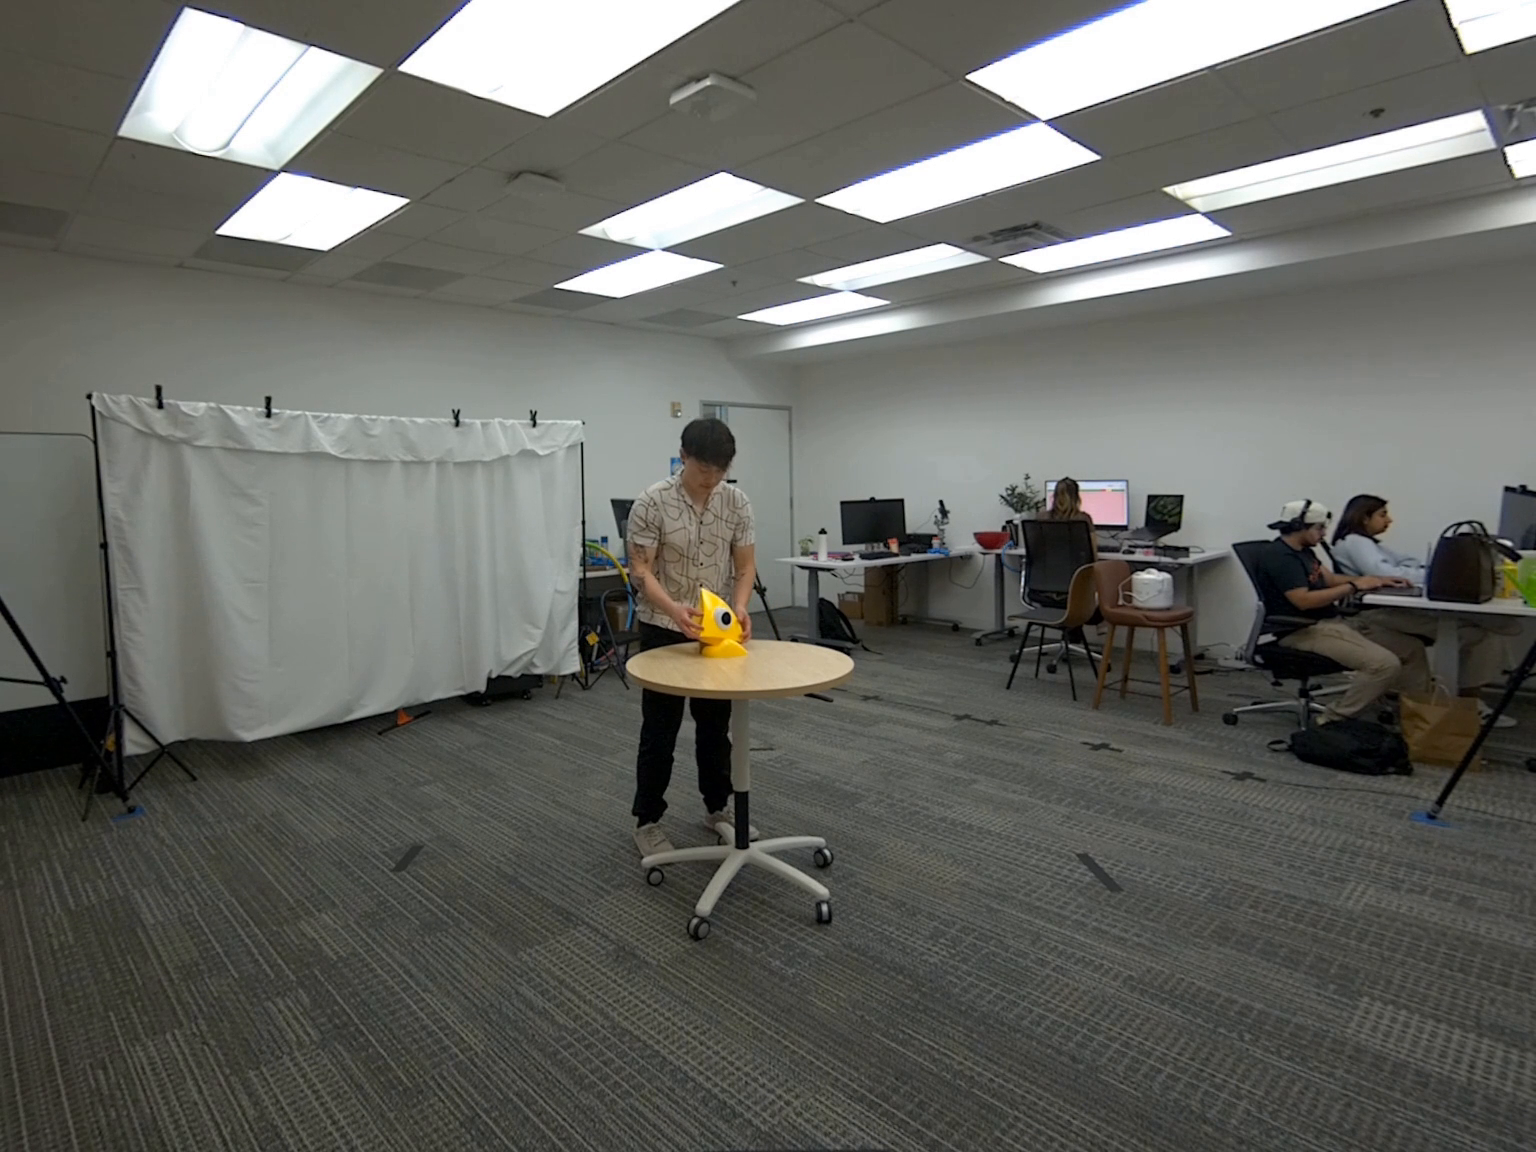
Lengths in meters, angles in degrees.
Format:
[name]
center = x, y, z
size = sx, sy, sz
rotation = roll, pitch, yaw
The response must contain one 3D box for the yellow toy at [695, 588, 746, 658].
[yellow toy]
center = -0.170, 0.162, 3.050
size = 0.190, 0.230, 0.208
rotation = -2, 4, -16
